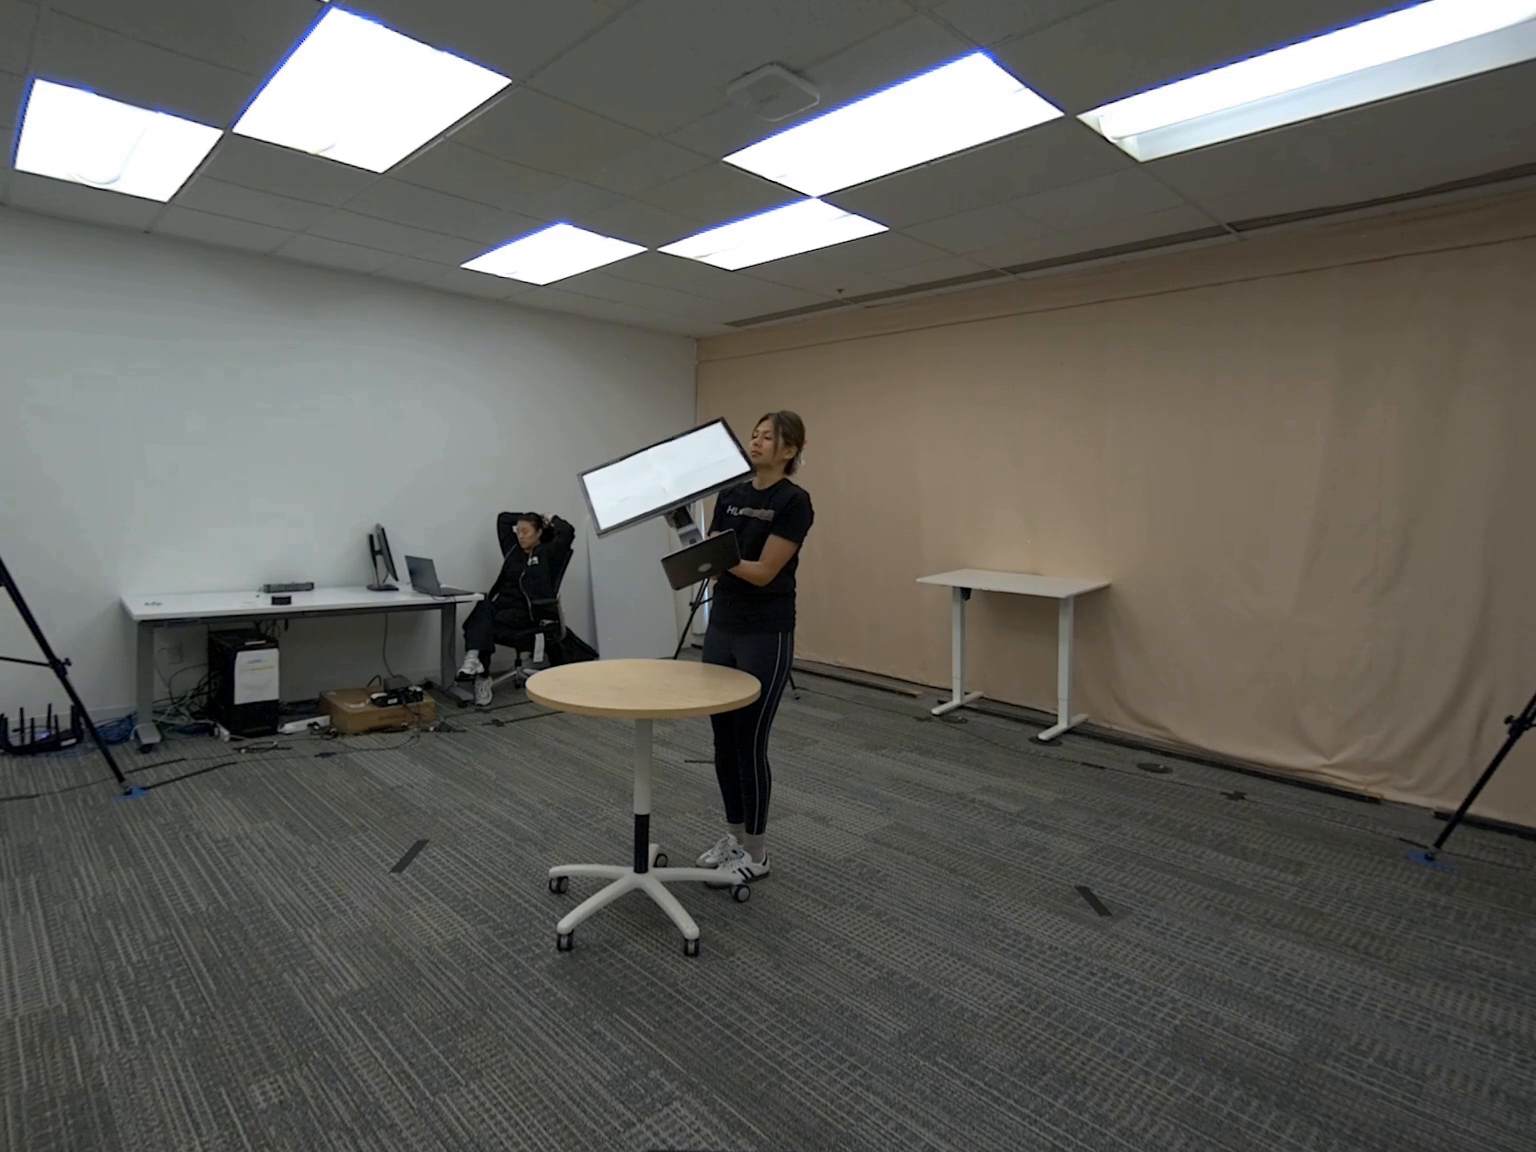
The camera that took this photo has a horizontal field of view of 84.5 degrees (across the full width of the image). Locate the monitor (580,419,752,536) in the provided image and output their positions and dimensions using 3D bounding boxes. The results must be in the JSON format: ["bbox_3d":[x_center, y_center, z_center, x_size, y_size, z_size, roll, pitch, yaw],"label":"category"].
[{"bbox_3d":[-0.323,-0.250,2.816,0.537,0.537,0.182,-21,-33,-6],"label":"monitor"}]
